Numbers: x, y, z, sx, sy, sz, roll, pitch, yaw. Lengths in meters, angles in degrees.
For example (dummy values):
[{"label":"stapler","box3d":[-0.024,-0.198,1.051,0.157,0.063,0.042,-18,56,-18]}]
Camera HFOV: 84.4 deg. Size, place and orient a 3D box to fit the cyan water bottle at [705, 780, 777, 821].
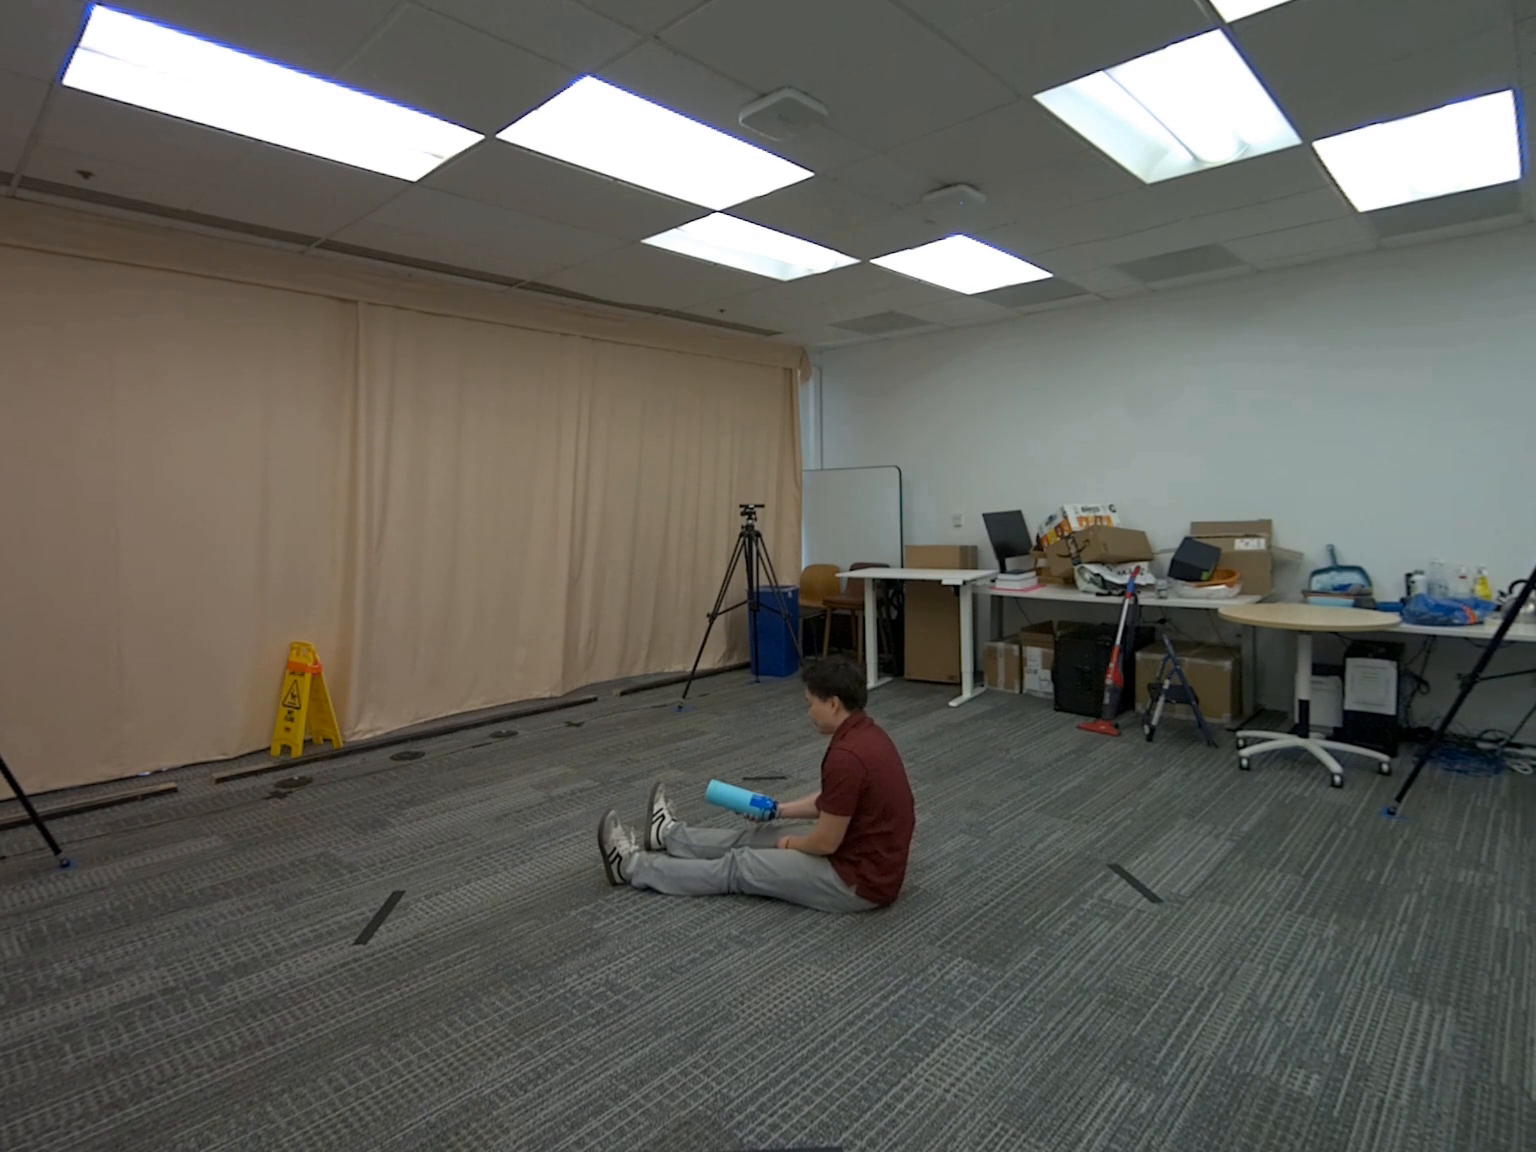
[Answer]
[{"label":"cyan water bottle","box3d":[-0.089,0.847,3.196,0.290,0.092,0.090,12,8,19]}]
